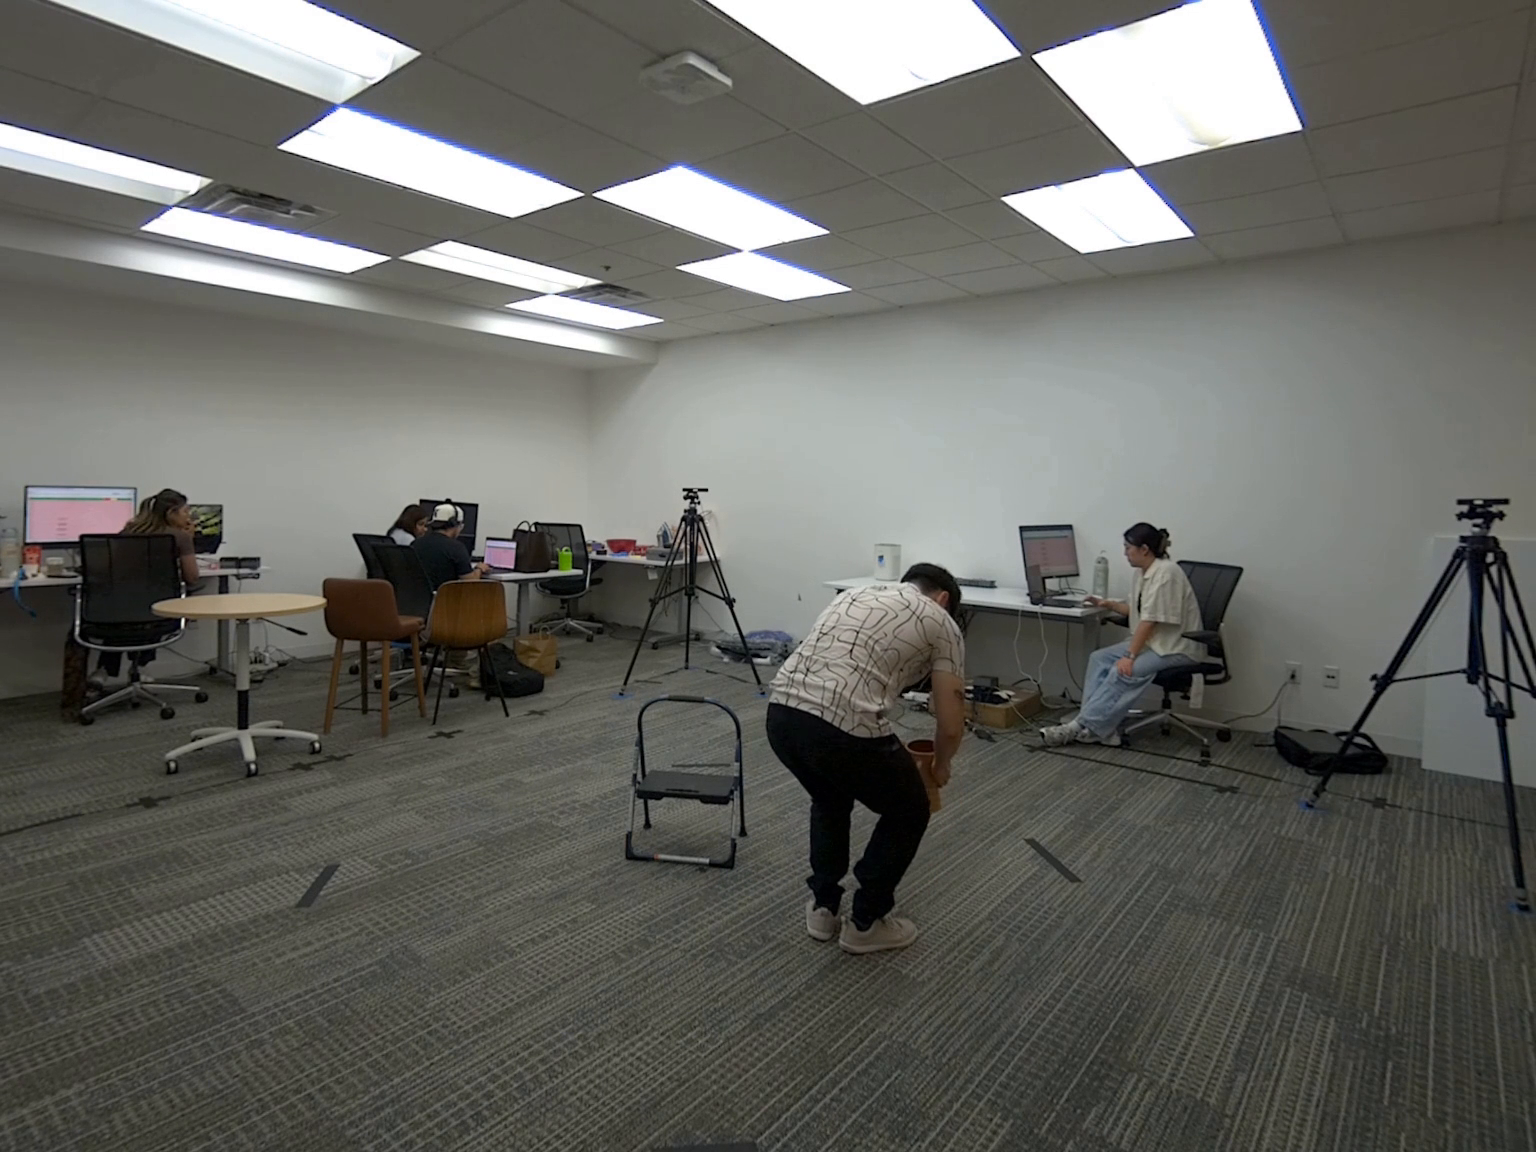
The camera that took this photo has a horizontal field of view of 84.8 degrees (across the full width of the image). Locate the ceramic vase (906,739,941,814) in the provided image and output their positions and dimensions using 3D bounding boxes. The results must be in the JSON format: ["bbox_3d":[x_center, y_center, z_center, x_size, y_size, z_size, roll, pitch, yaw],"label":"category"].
[{"bbox_3d":[0.532,0.680,2.899,0.155,0.217,0.139,-10,12,-27],"label":"ceramic vase"}]
